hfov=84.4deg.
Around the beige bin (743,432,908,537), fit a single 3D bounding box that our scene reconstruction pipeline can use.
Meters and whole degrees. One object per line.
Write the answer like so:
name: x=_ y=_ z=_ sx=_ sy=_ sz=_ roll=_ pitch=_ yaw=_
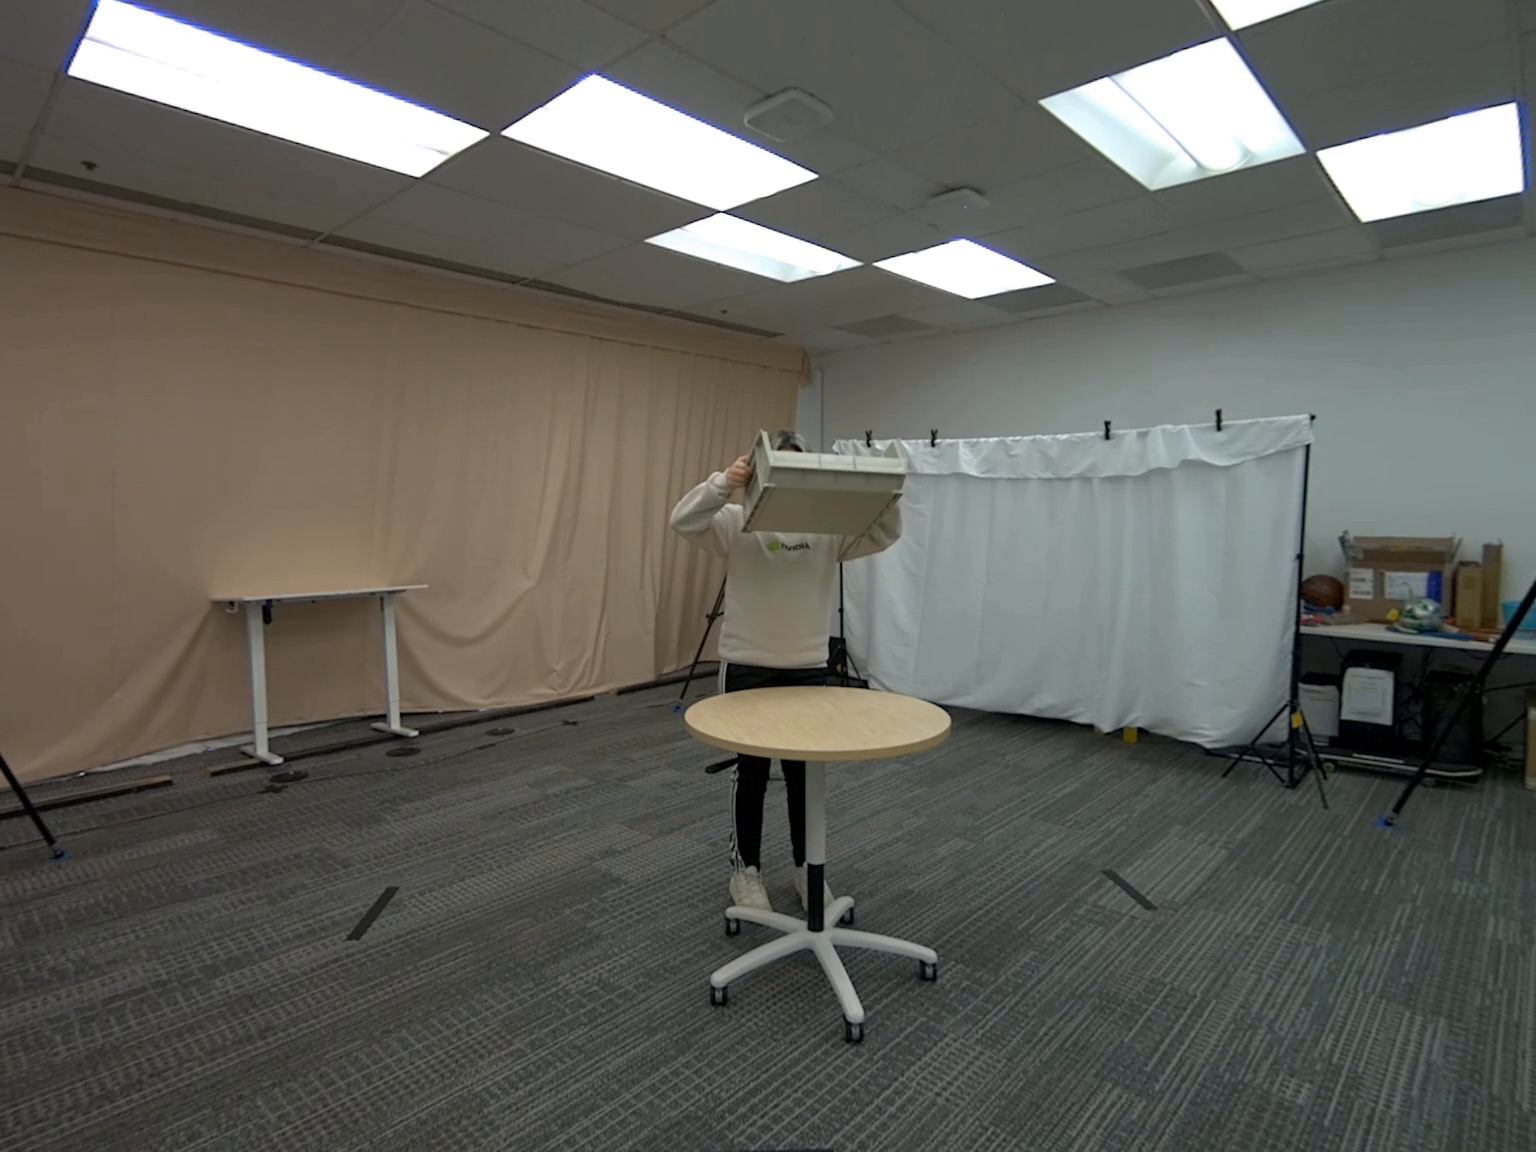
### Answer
beige bin: x=0.152 y=-0.267 z=2.532 sx=0.416 sy=0.192 sz=0.377 roll=2 pitch=-24 yaw=-14
